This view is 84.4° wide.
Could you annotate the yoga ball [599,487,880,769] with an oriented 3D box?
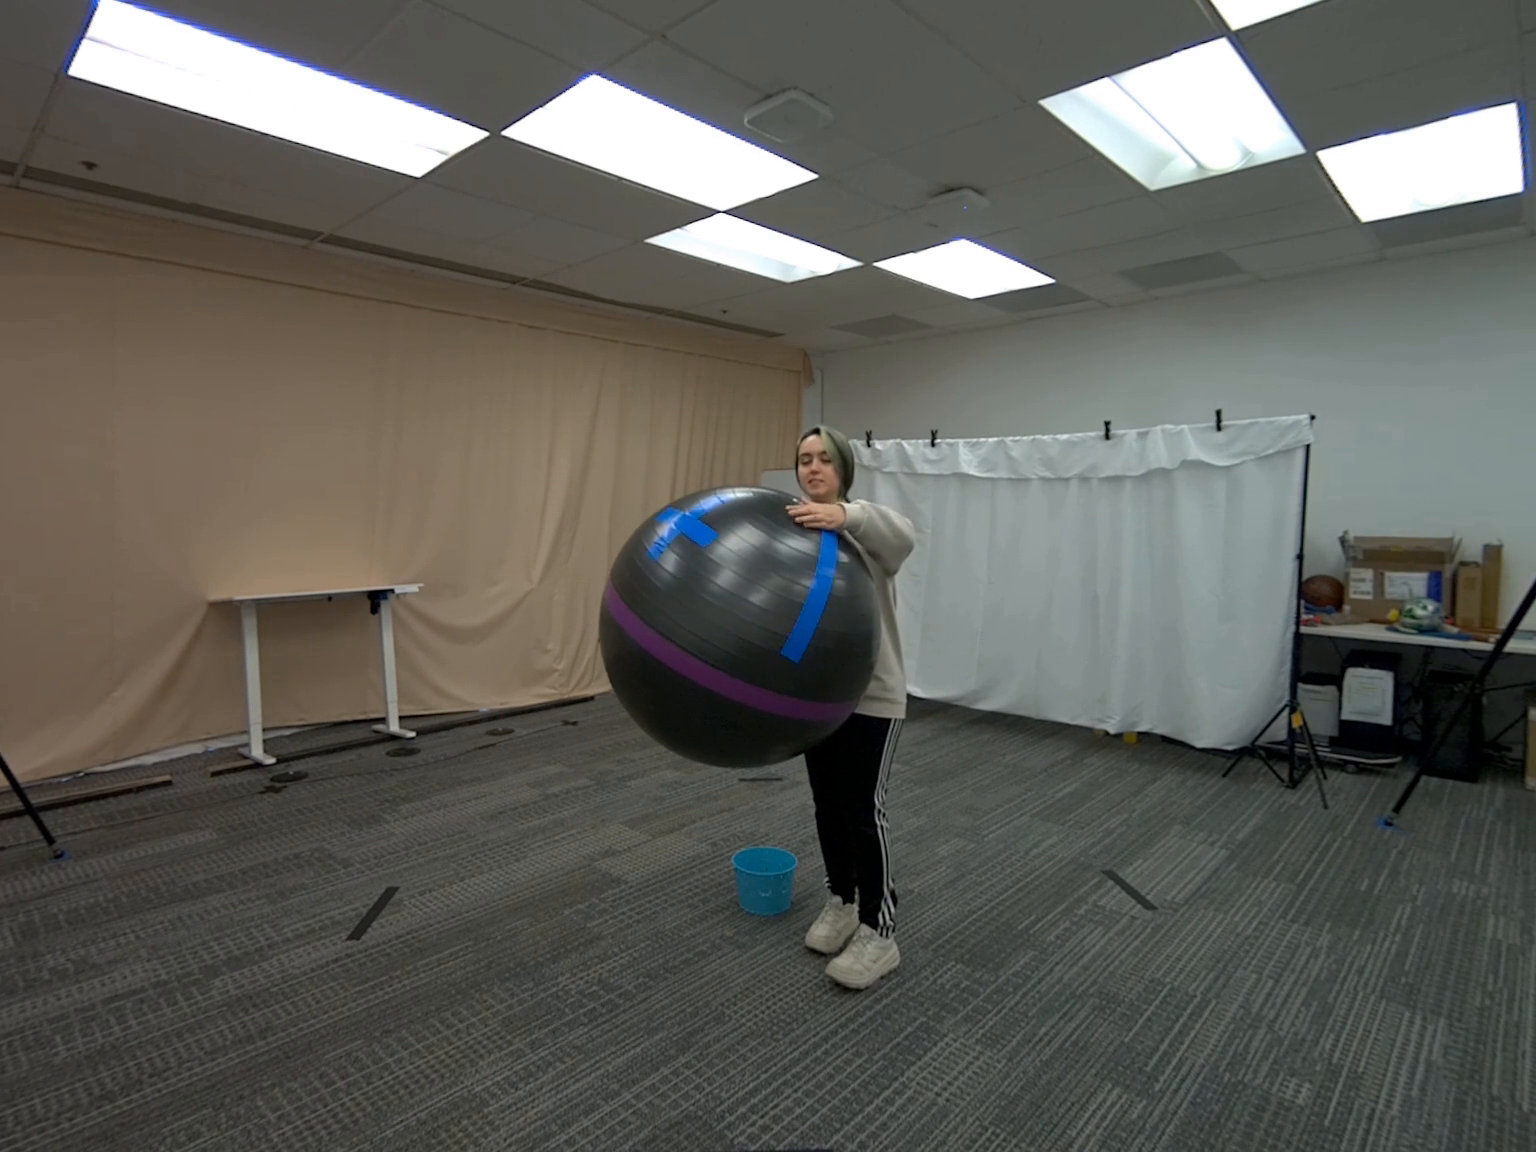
[{"bbox_3d":[-0.091,0.150,2.270,0.757,0.756,0.760,0,4,-2],"label":"yoga ball"}]
